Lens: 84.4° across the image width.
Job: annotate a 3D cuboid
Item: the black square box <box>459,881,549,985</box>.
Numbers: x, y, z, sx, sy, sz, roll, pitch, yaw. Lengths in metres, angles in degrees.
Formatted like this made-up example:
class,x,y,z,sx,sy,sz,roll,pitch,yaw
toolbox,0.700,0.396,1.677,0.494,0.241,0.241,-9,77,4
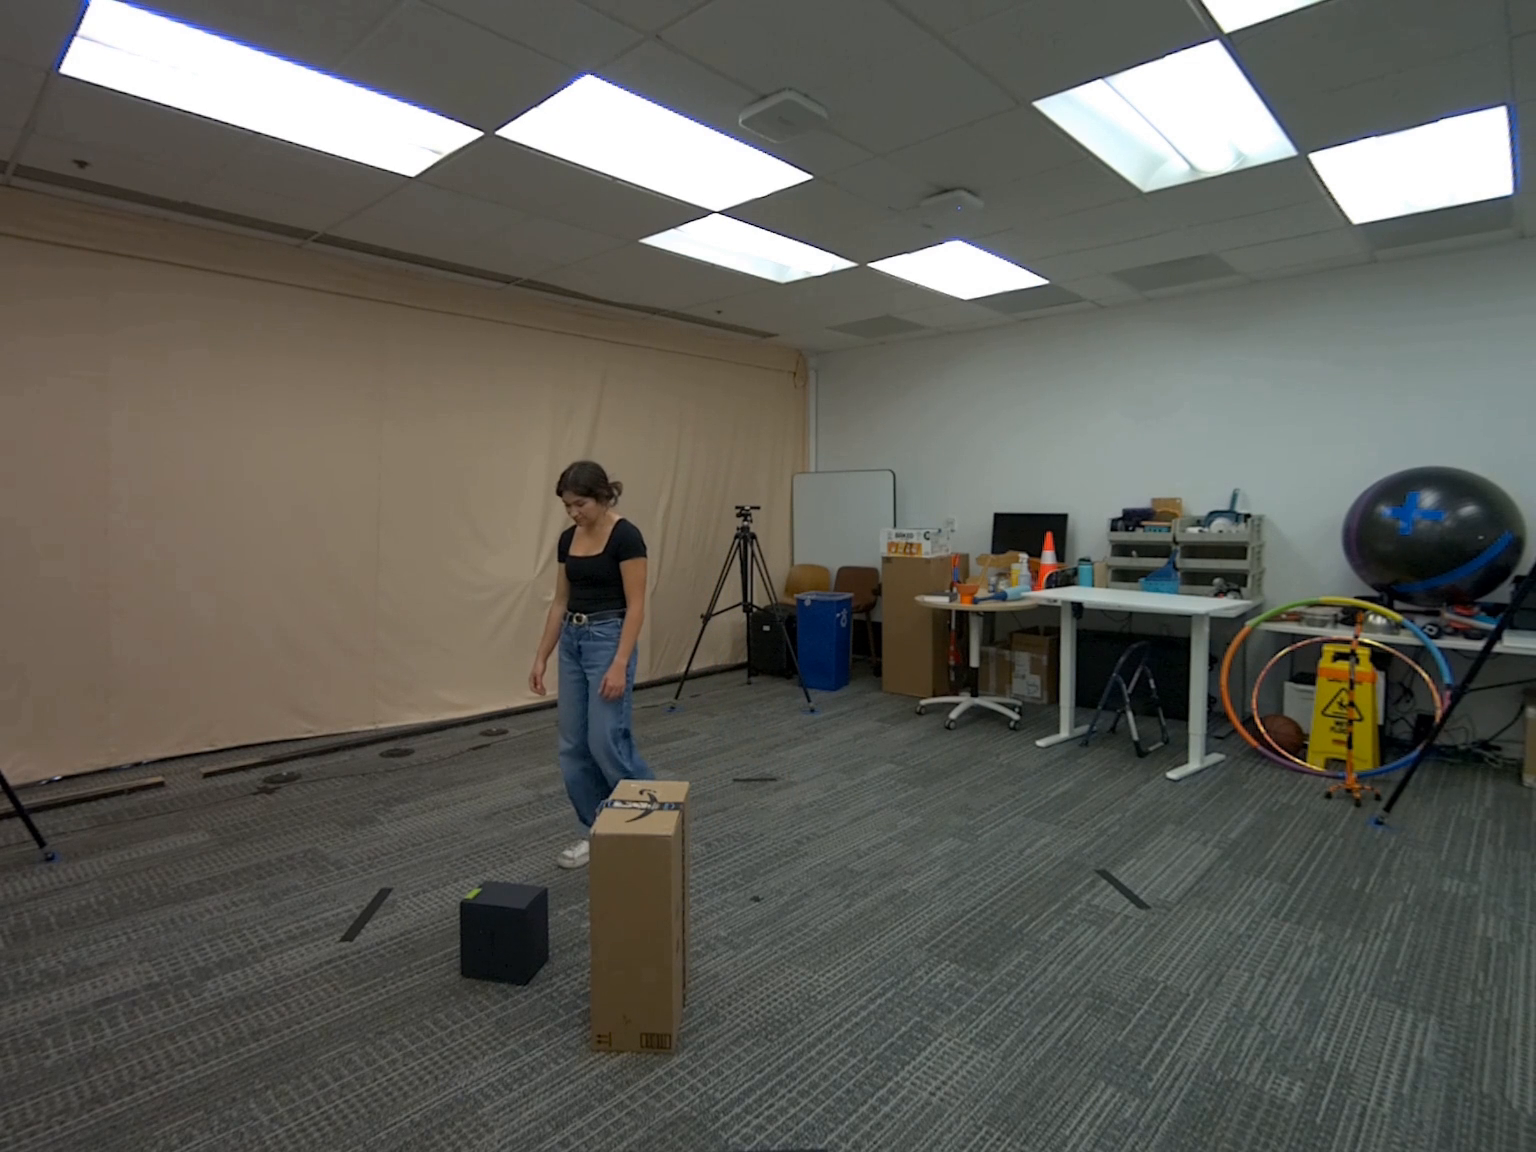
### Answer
class,x,y,z,sx,sy,sz,roll,pitch,yaw
black square box,-0.794,1.061,2.545,0.220,0.227,0.154,0,3,12
